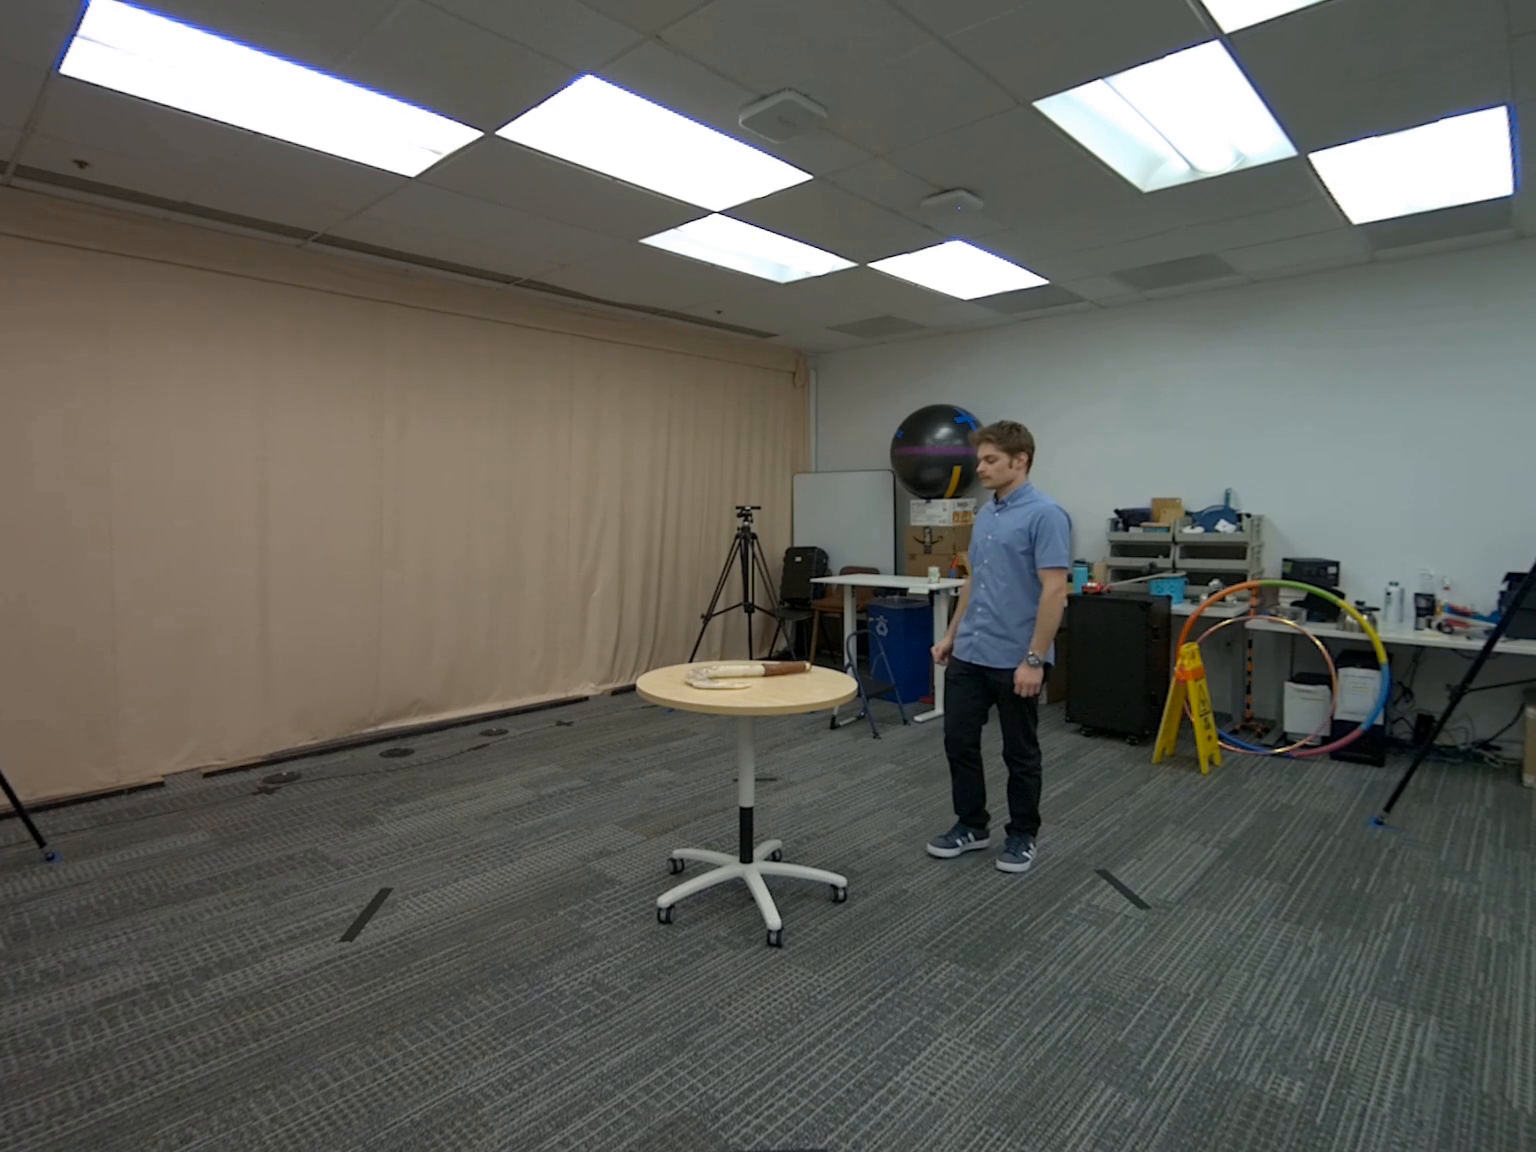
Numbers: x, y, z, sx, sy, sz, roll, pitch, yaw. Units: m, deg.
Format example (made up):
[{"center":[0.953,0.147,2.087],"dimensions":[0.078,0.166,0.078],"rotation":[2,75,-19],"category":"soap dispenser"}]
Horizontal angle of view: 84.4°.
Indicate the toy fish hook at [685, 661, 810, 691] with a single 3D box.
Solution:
[{"center":[-0.040,0.354,2.949],"dimensions":[0.495,0.048,0.231],"rotation":[-3,12,-24],"category":"toy fish hook"}]
